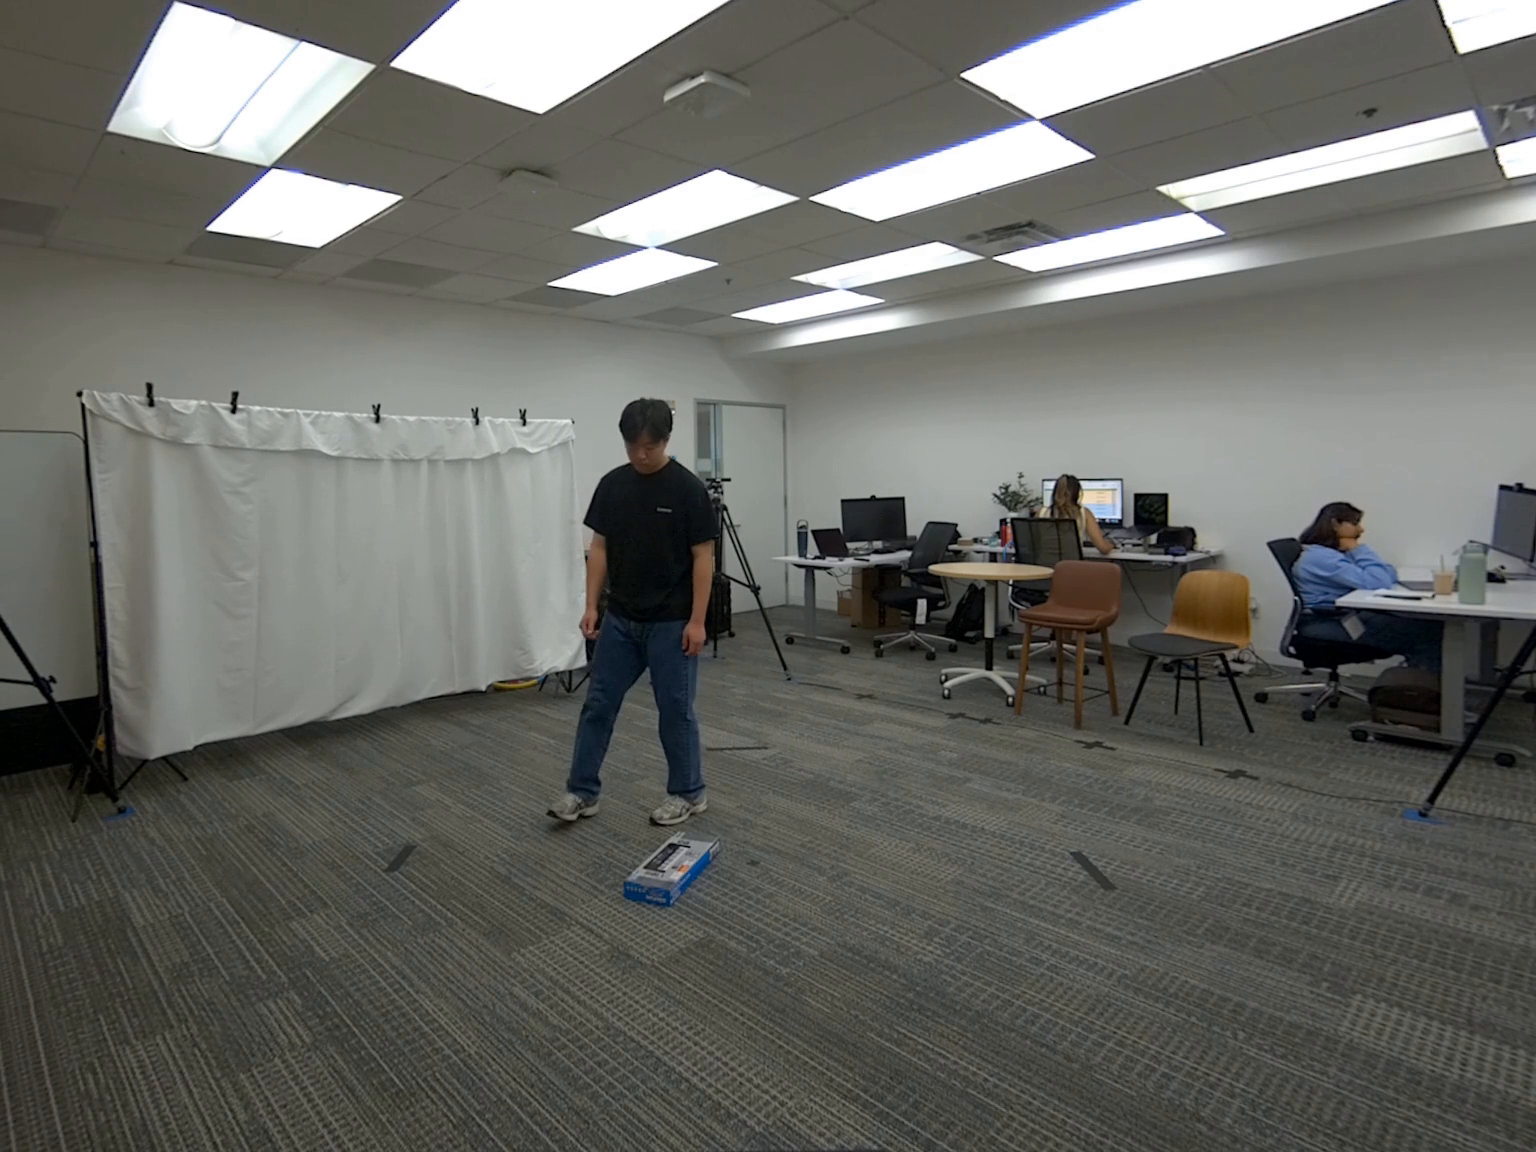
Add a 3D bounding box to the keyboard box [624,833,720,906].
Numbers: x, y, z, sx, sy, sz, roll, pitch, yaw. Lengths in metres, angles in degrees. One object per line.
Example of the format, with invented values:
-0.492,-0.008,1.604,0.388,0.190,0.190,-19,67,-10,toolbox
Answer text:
-0.331,1.028,3.024,0.179,0.059,0.430,2,7,20,keyboard box
